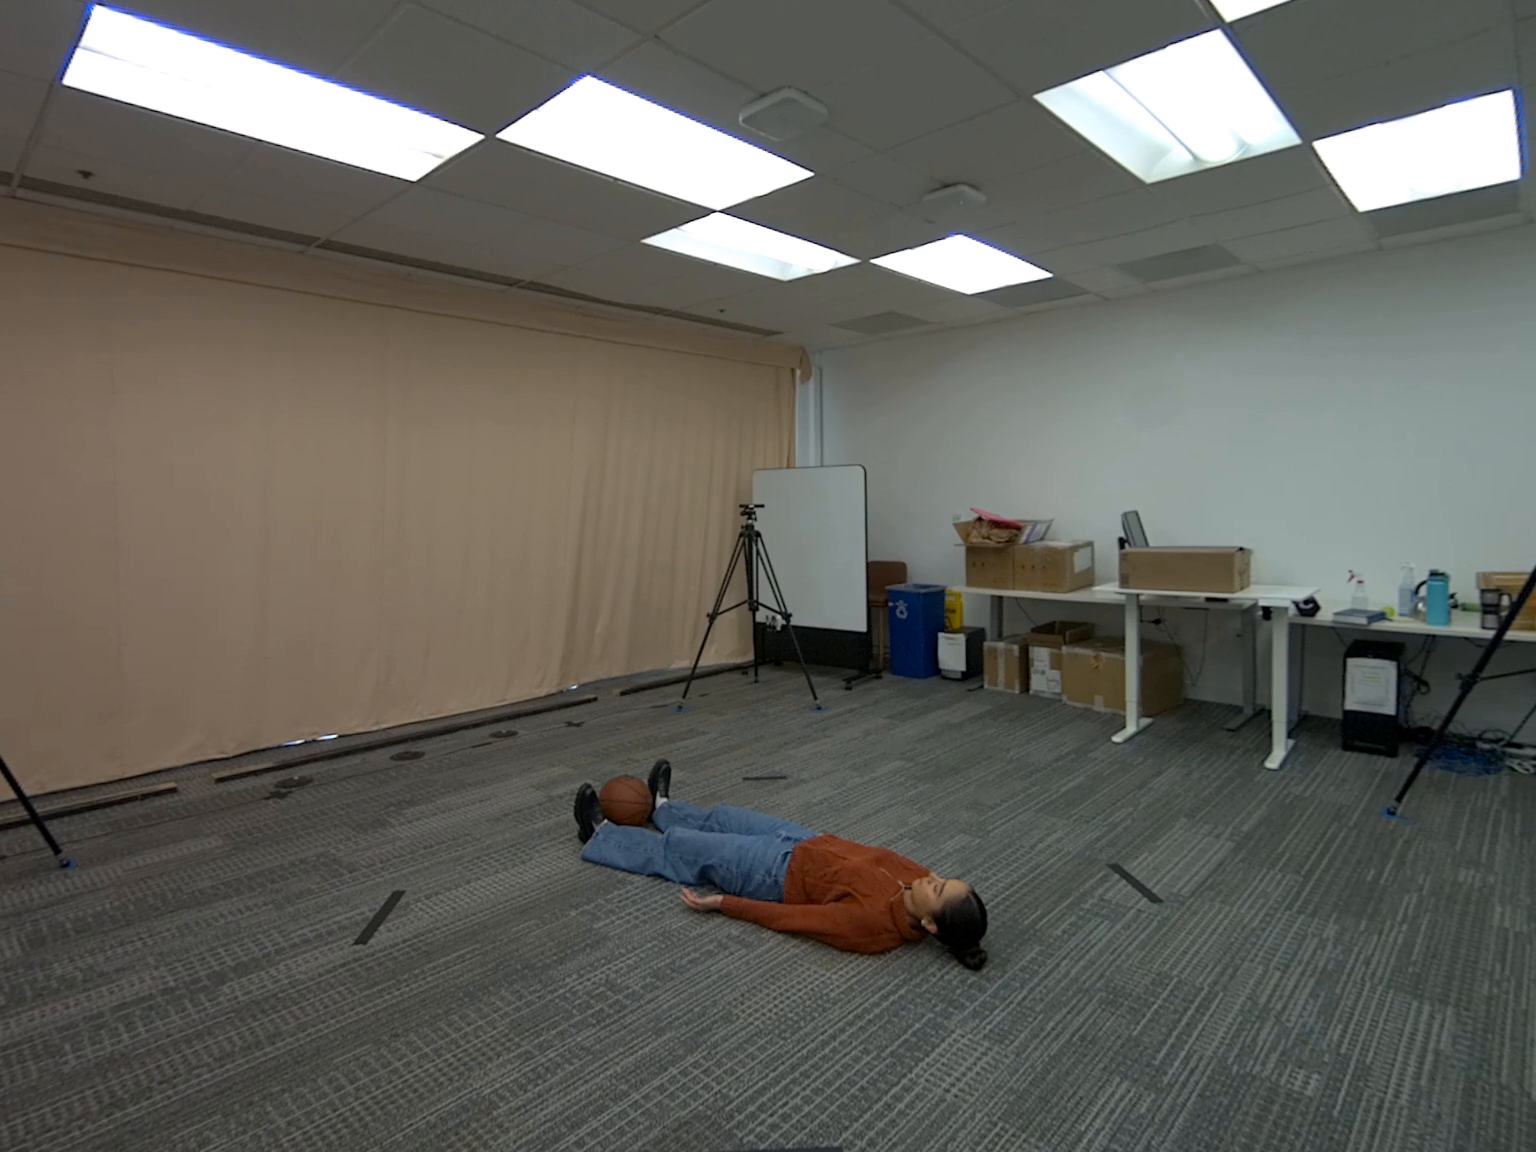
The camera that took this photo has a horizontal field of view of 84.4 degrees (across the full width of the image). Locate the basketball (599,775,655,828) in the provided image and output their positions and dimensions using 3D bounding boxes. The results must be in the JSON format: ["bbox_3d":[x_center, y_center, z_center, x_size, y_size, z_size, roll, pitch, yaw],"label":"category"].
[{"bbox_3d":[-0.622,0.978,3.634,0.236,0.235,0.237,-1,4,-2],"label":"basketball"}]
